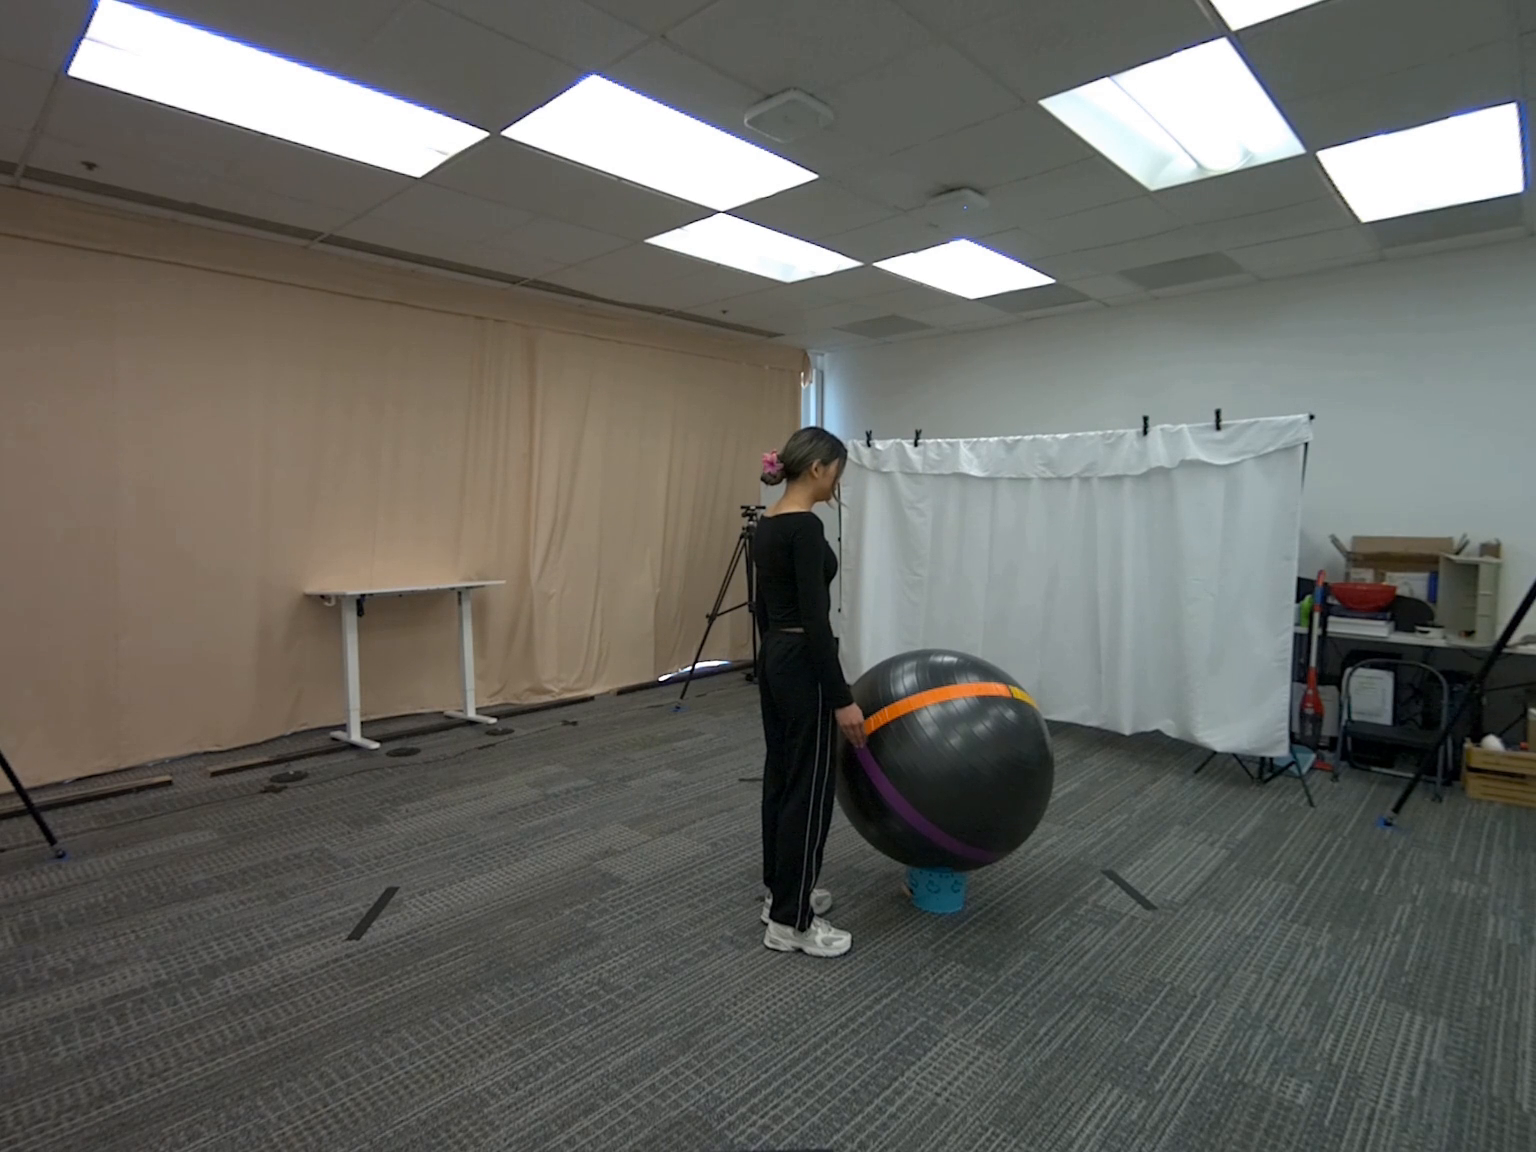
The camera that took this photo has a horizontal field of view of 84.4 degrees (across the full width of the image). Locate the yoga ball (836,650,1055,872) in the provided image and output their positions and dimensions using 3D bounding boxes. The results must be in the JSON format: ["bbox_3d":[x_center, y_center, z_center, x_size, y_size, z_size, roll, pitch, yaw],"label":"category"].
[{"bbox_3d":[0.603,0.637,2.937,0.757,0.756,0.760,0,4,-2],"label":"yoga ball"}]
